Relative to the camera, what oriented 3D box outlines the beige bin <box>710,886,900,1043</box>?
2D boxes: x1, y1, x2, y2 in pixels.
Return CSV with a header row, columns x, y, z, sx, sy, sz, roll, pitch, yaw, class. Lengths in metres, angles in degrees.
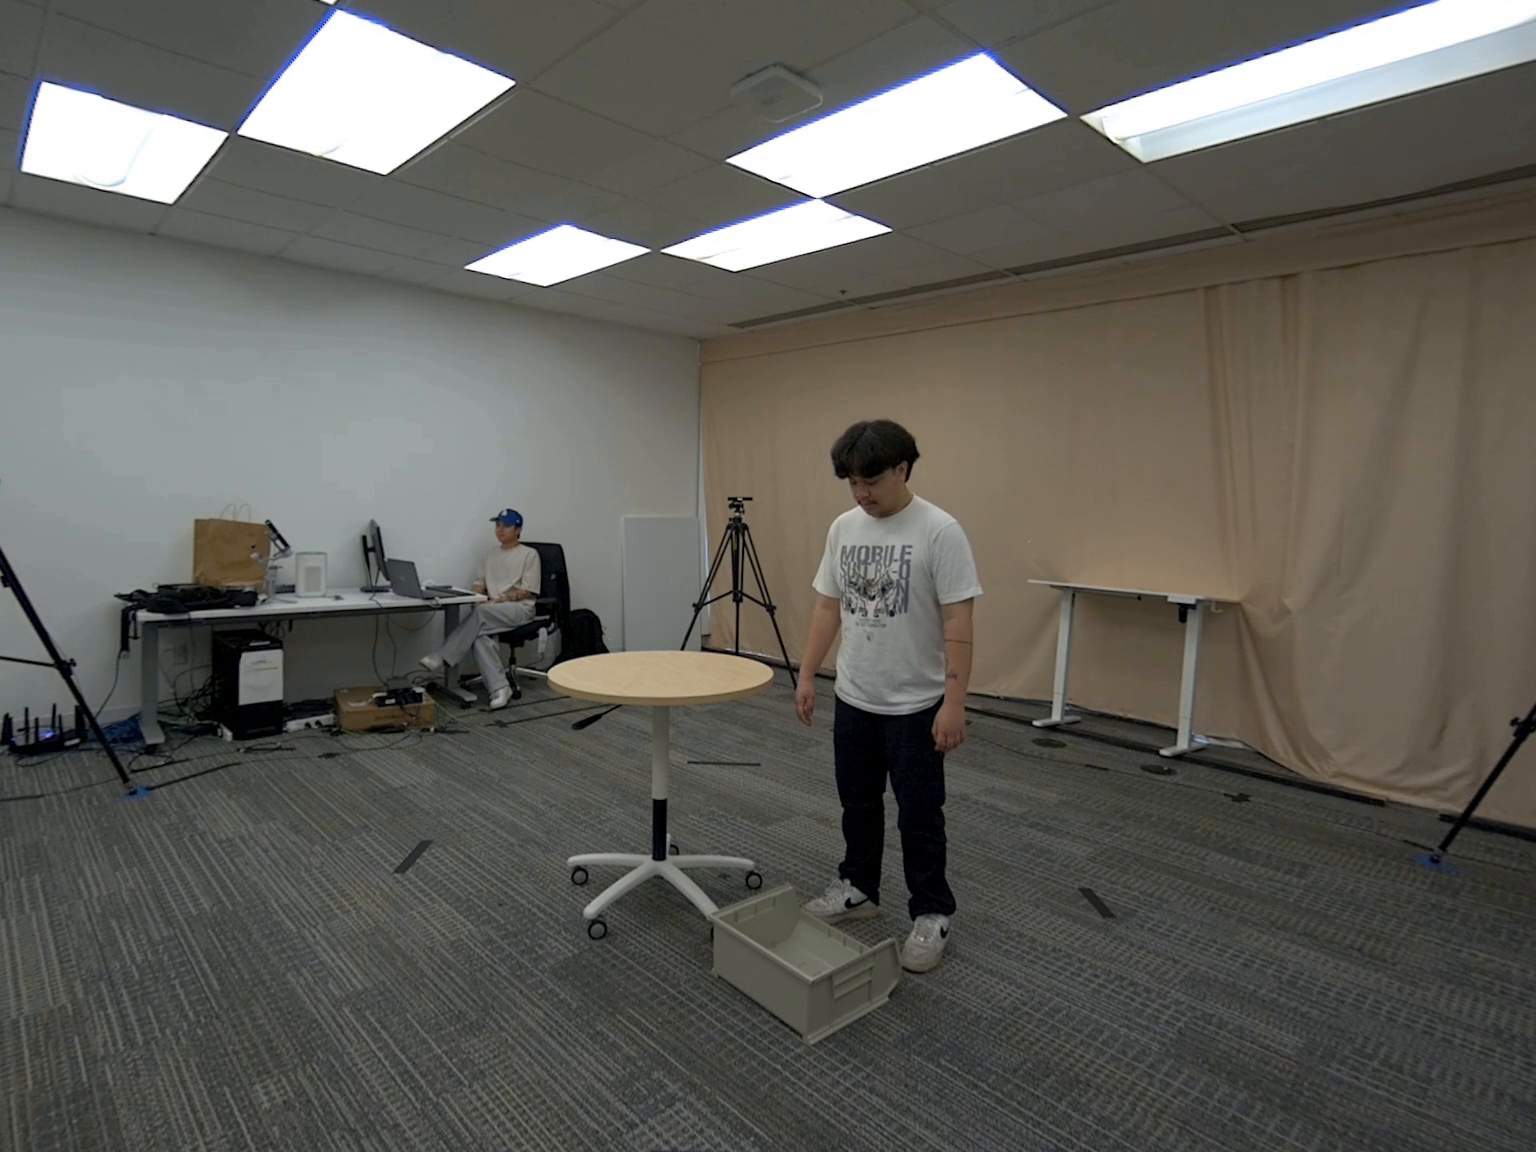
x,y,z,sx,sy,sz,roll,pitch,yaw,class
0.097,1.089,2.412,0.369,0.188,0.433,-4,8,-42,beige bin
